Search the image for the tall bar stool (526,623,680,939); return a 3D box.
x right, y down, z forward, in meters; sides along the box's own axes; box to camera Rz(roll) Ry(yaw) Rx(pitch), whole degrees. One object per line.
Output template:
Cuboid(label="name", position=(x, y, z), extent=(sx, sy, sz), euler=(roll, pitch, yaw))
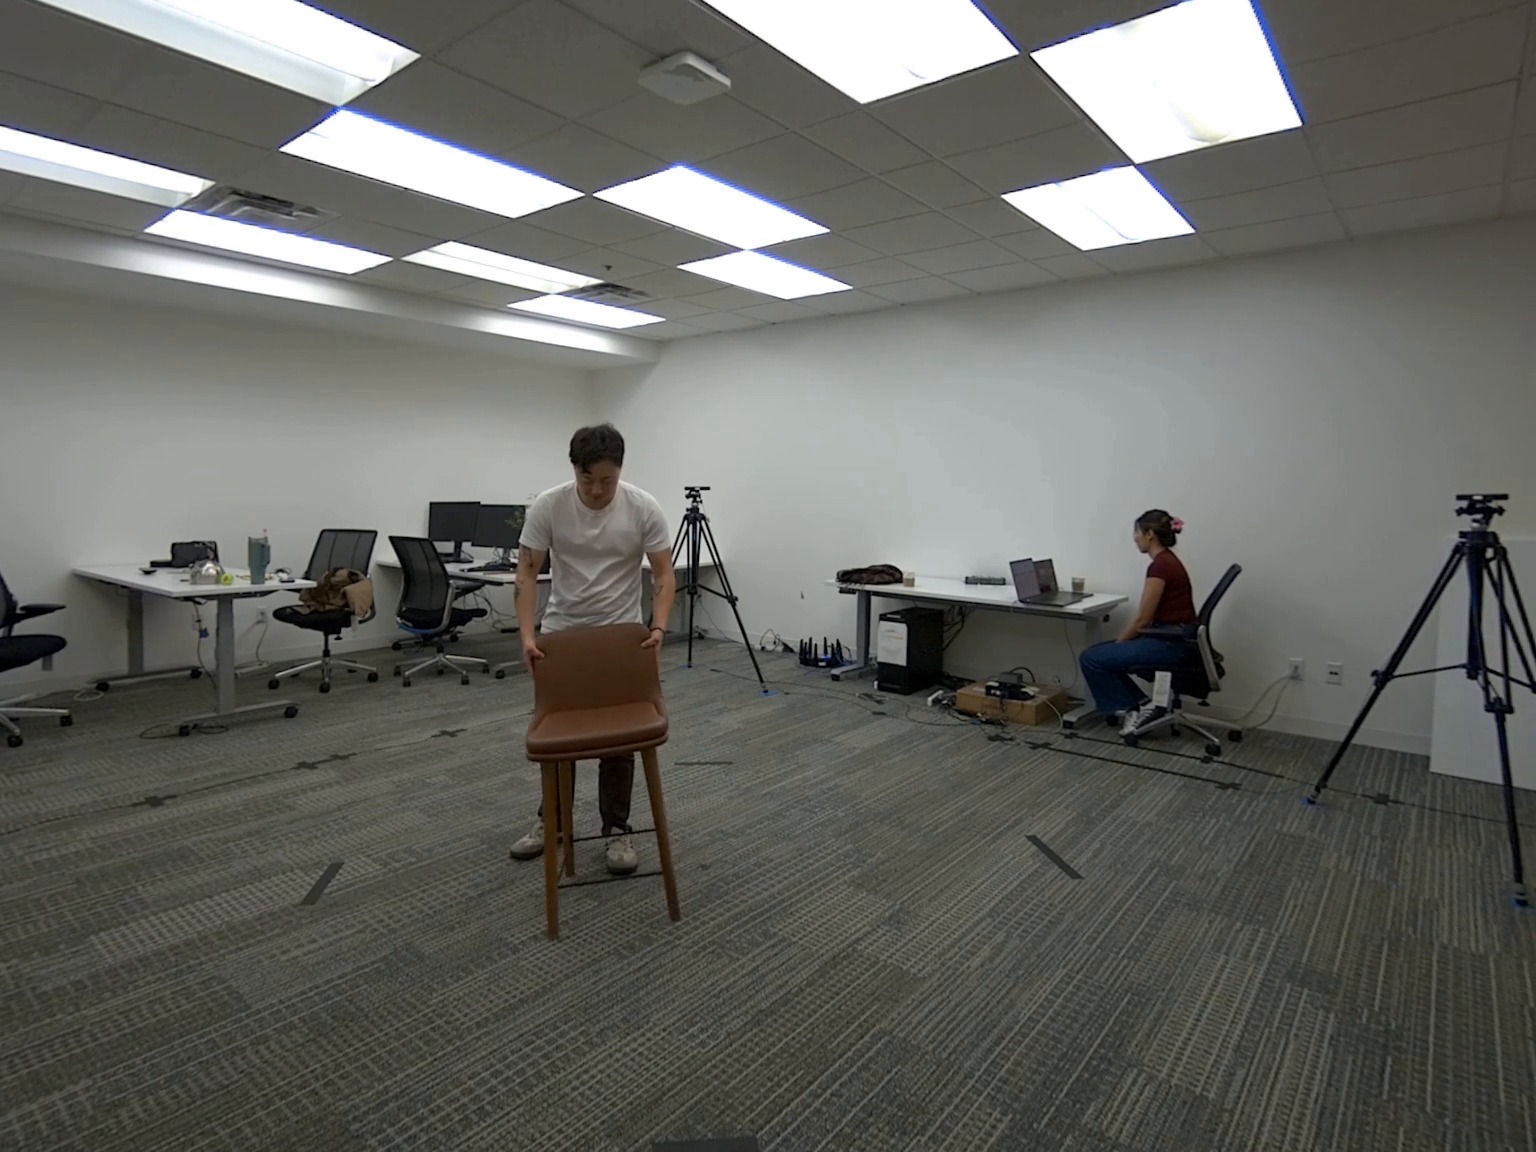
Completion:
Cuboid(label="tall bar stool", position=(-0.561, 0.634, 2.822), extent=(0.453, 0.889, 0.471), euler=(-7, 1, -8))
